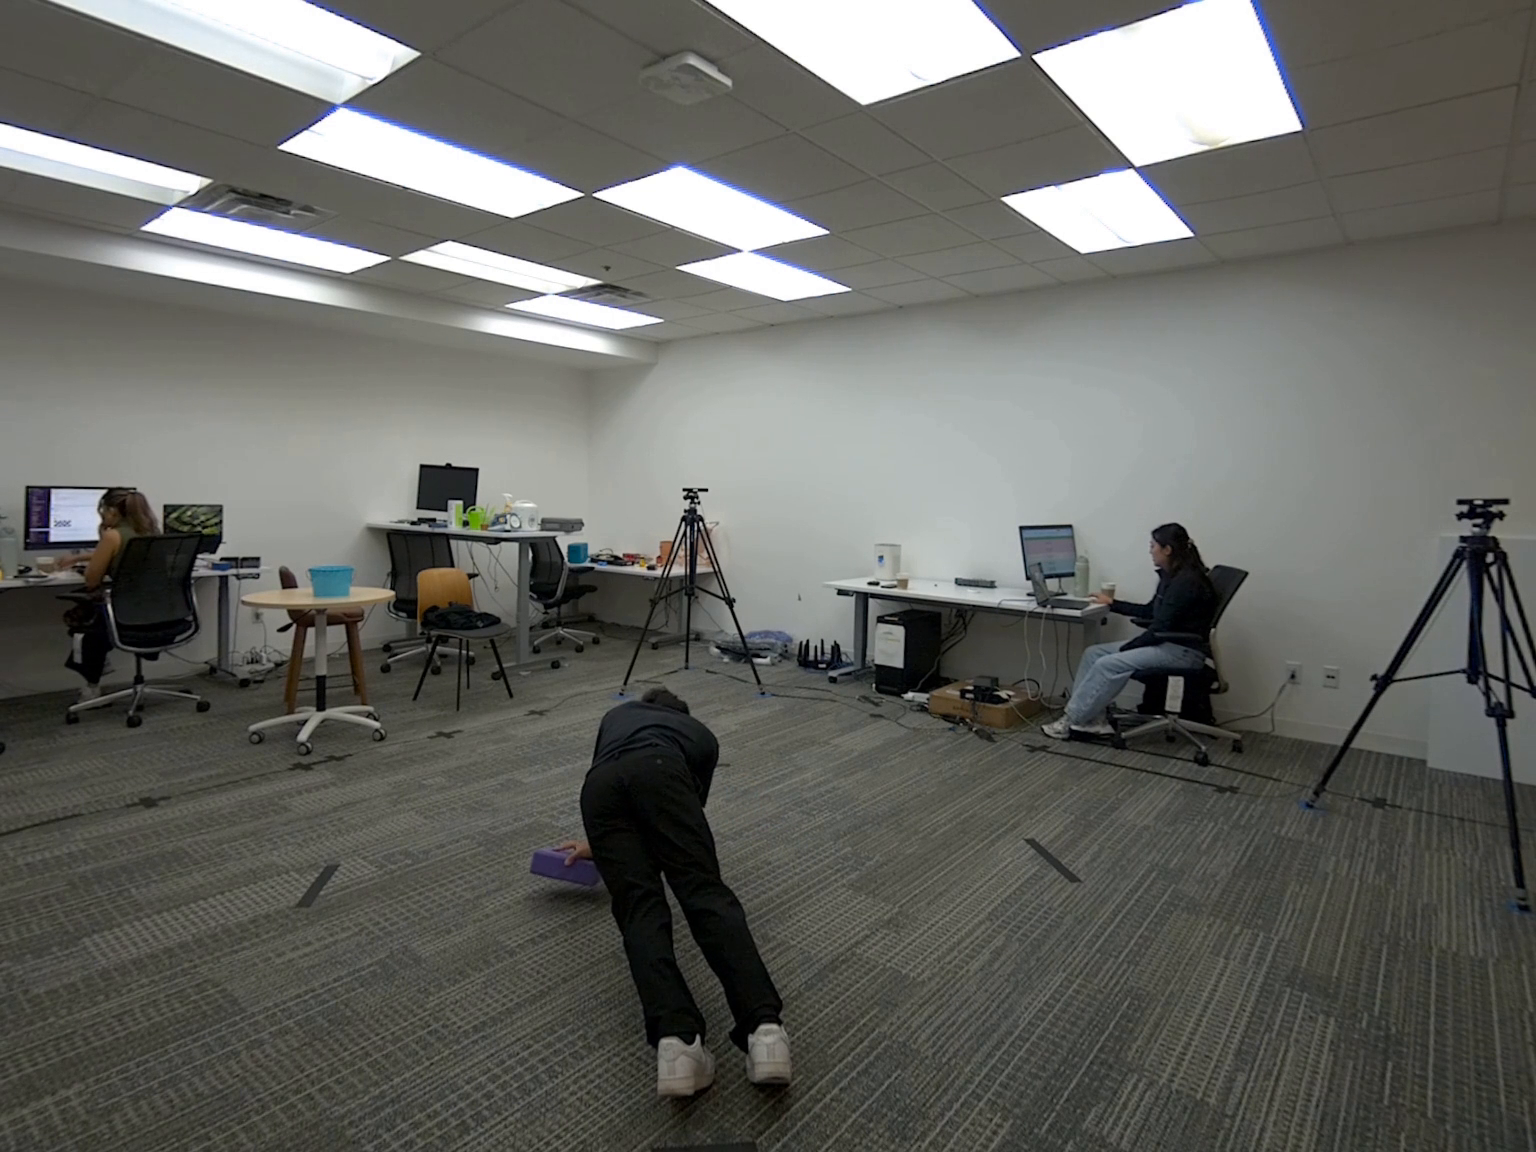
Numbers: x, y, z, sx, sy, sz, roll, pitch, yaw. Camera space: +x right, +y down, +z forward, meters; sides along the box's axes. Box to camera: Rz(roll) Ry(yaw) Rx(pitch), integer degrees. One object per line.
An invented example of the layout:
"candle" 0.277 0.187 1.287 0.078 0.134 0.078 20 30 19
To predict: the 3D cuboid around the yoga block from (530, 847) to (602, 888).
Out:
"yoga block" -0.695 0.990 2.893 0.230 0.077 0.147 10 -15 3
